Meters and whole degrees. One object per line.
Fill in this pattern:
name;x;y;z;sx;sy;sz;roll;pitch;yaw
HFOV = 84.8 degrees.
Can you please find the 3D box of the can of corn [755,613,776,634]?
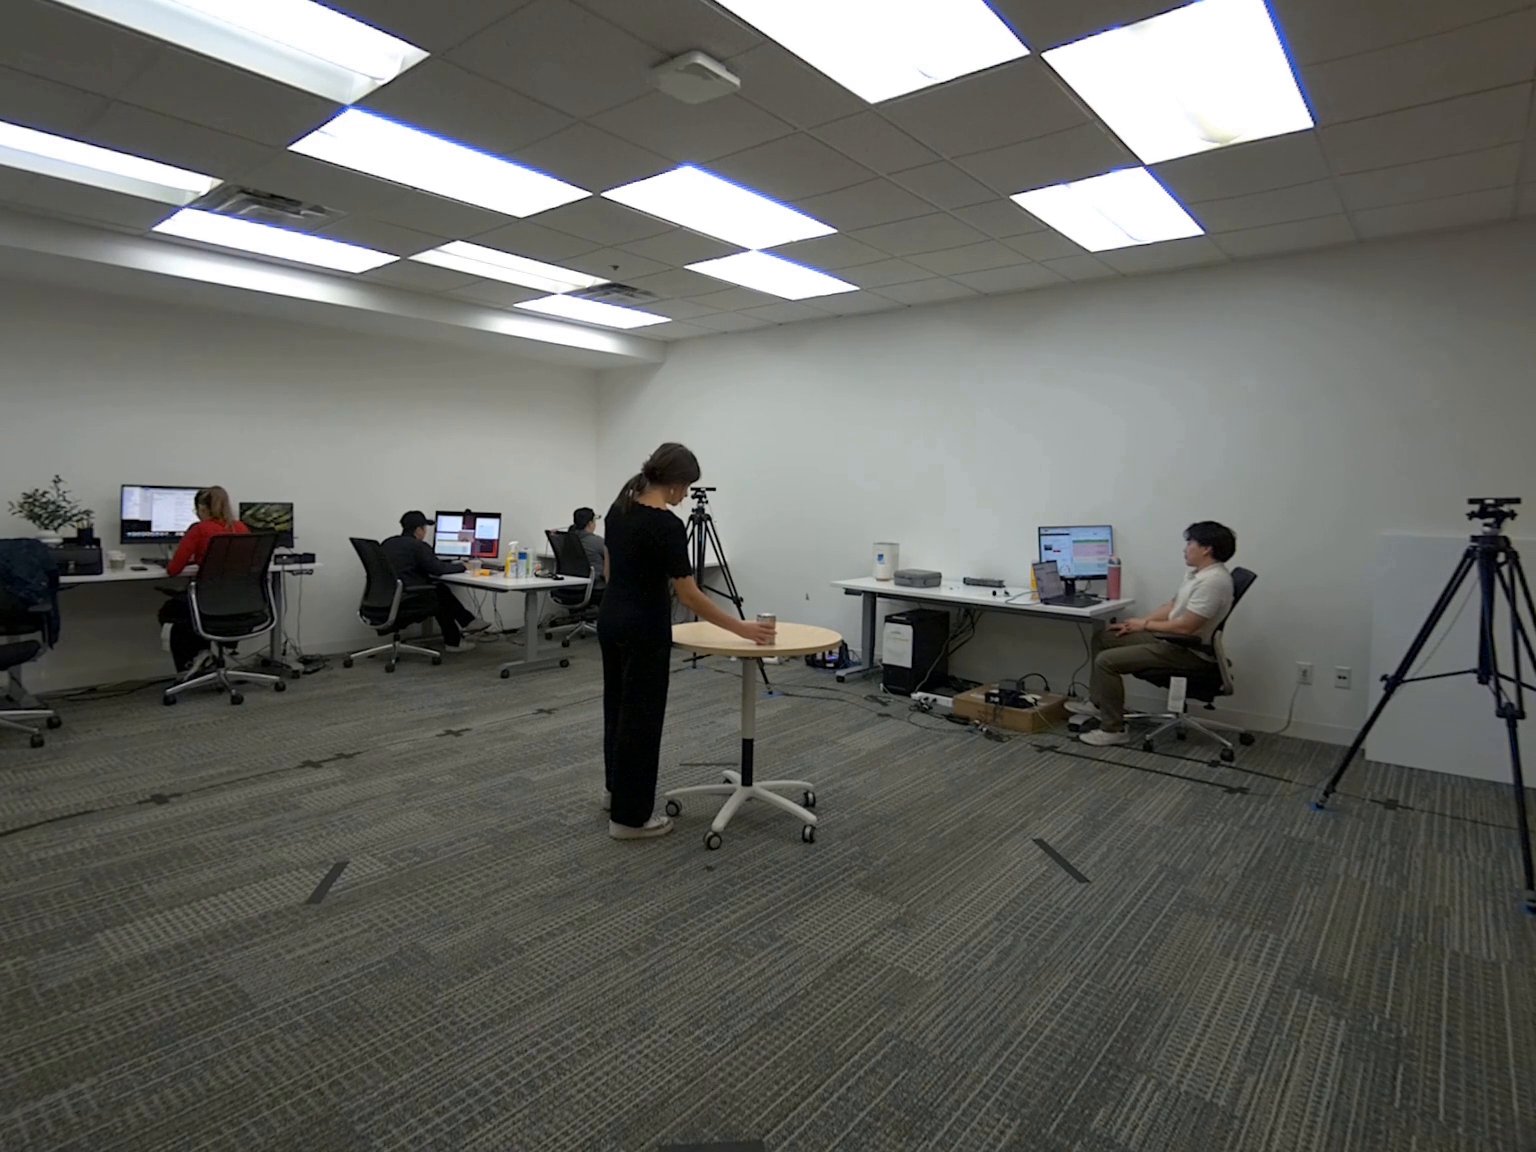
can of corn;-0.023;0.208;3.341;0.074;0.111;0.074;-2;4;-2
